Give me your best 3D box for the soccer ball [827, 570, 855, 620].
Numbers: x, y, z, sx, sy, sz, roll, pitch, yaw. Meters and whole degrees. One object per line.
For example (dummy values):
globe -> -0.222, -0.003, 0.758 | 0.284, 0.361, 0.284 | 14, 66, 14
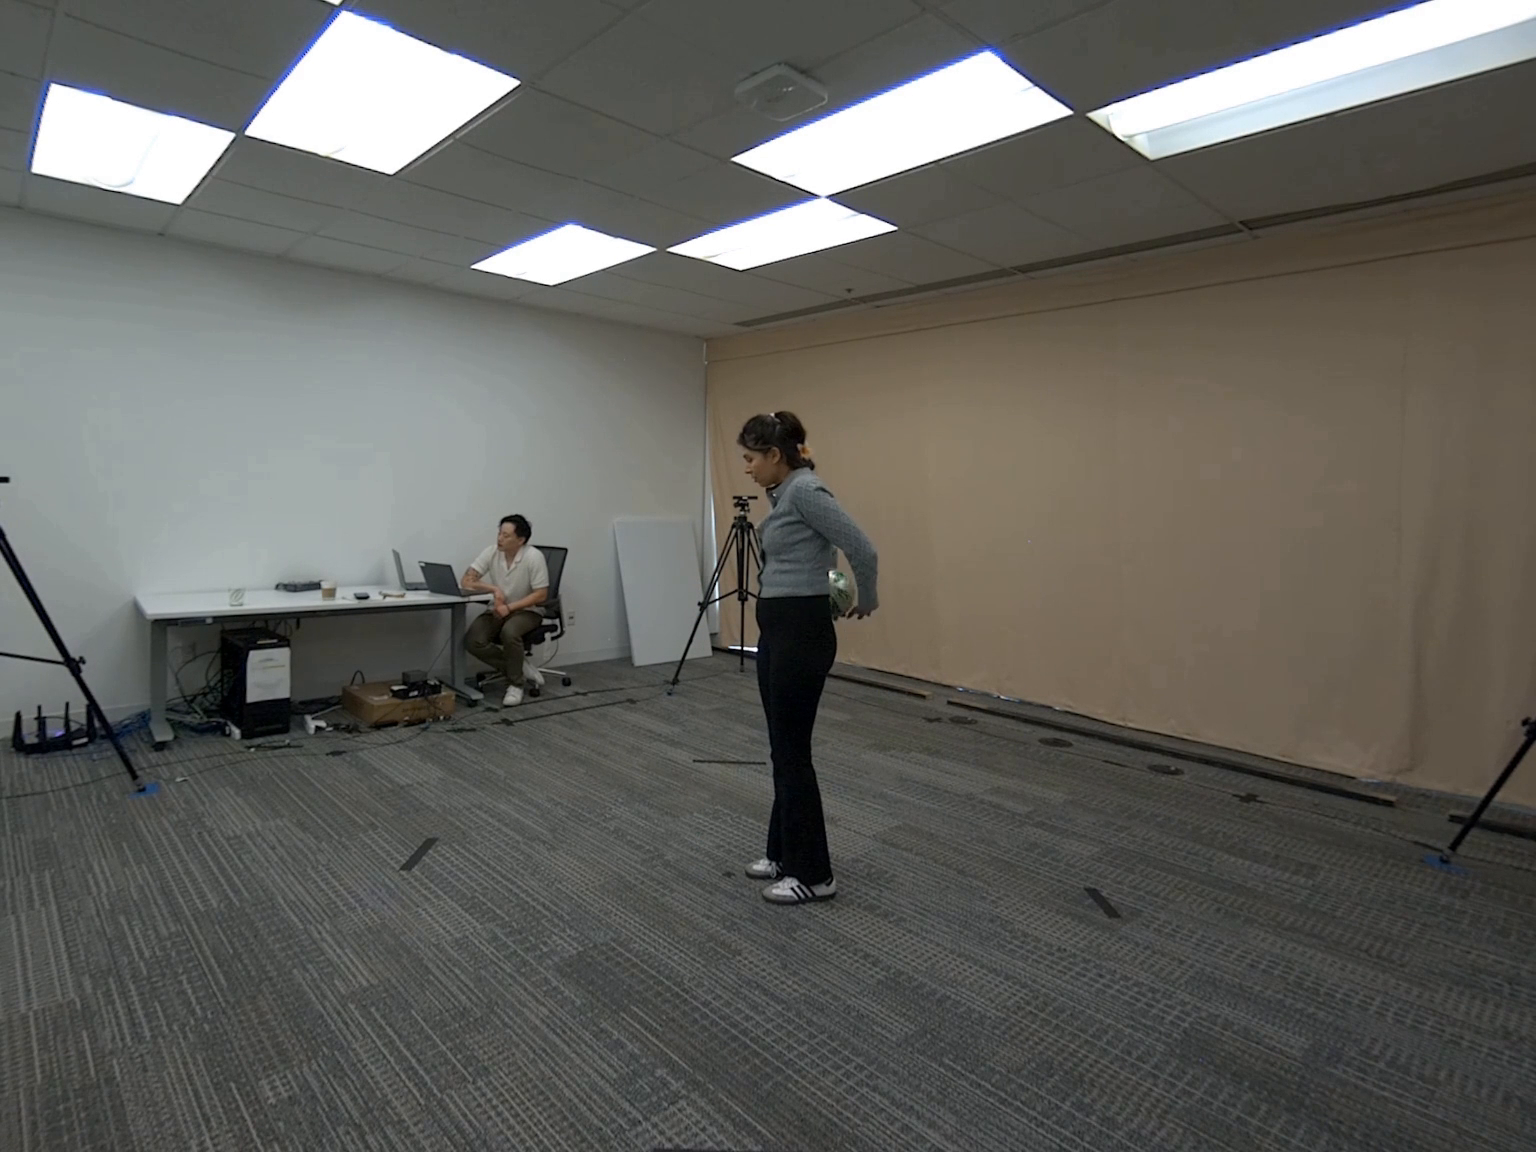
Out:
soccer ball -> 0.221, 0.071, 3.195 | 0.187, 0.187, 0.188 | 1, 4, -1
